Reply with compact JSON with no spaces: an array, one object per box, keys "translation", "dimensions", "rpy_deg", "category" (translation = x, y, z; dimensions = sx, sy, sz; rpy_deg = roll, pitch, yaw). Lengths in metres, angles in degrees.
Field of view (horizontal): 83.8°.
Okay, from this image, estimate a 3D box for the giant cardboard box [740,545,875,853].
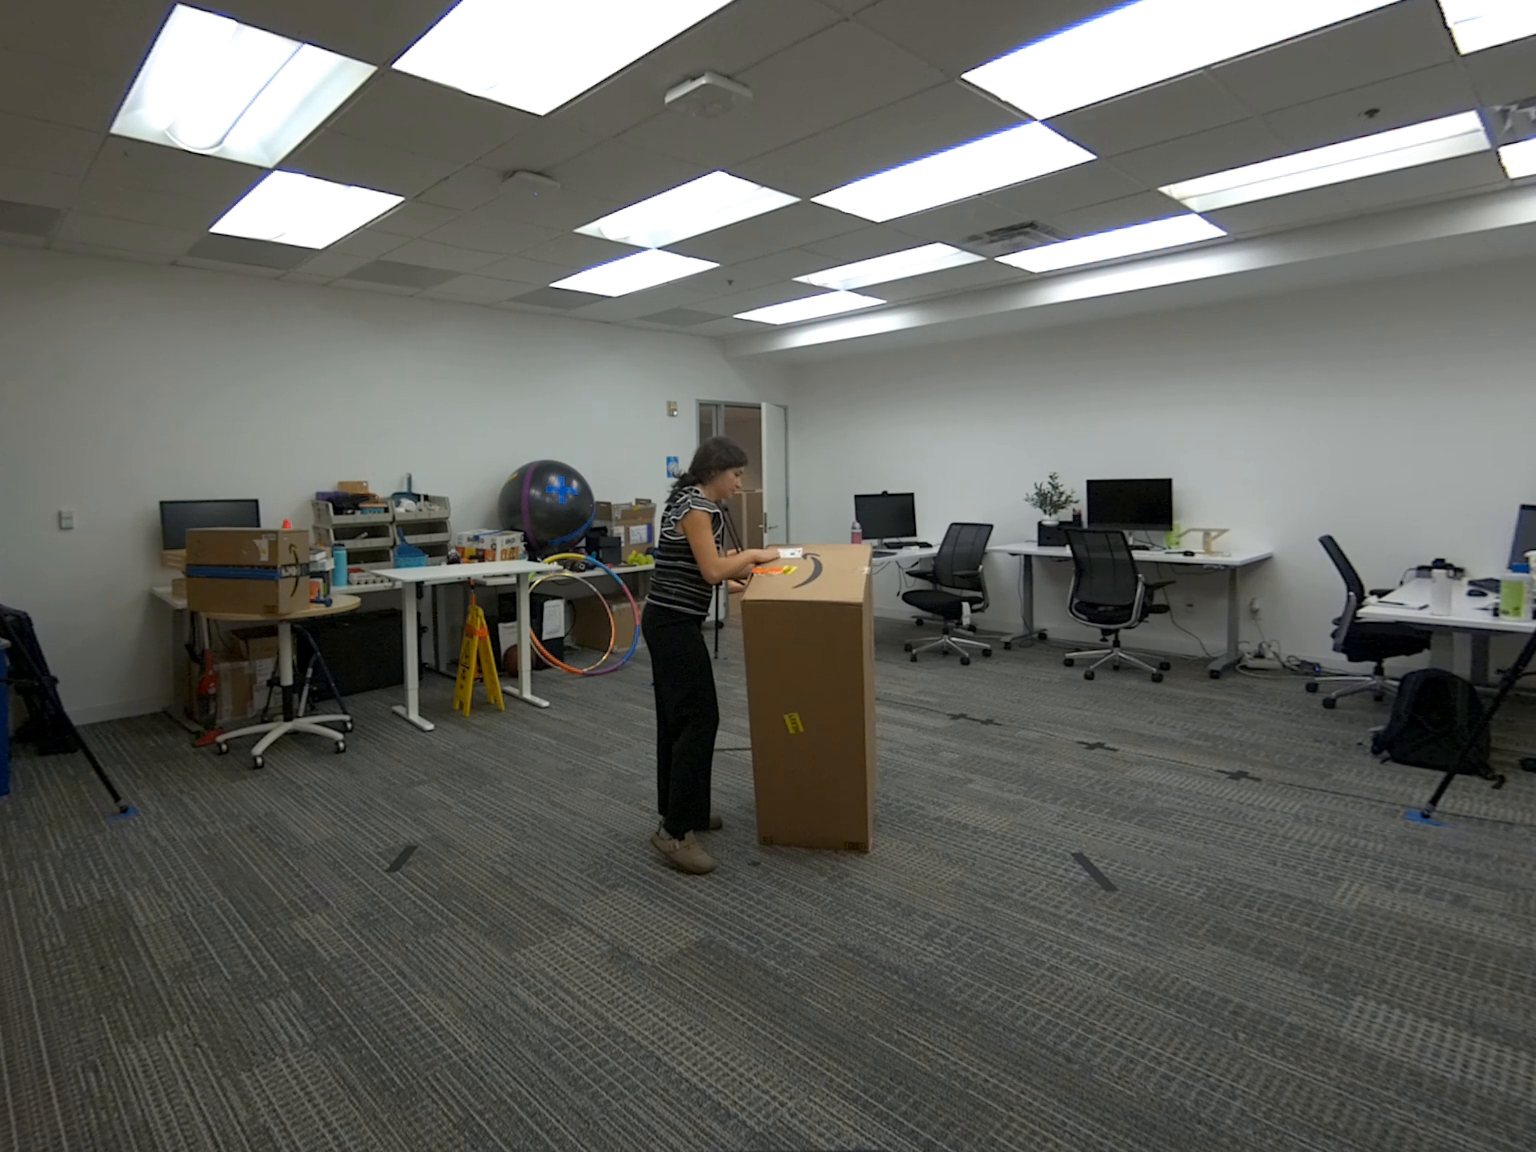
[{"translation":[0.186,0.454,3.324],"dimensions":[0.431,1.007,0.581],"rpy_deg":[1,21,11],"category":"giant cardboard box"}]
